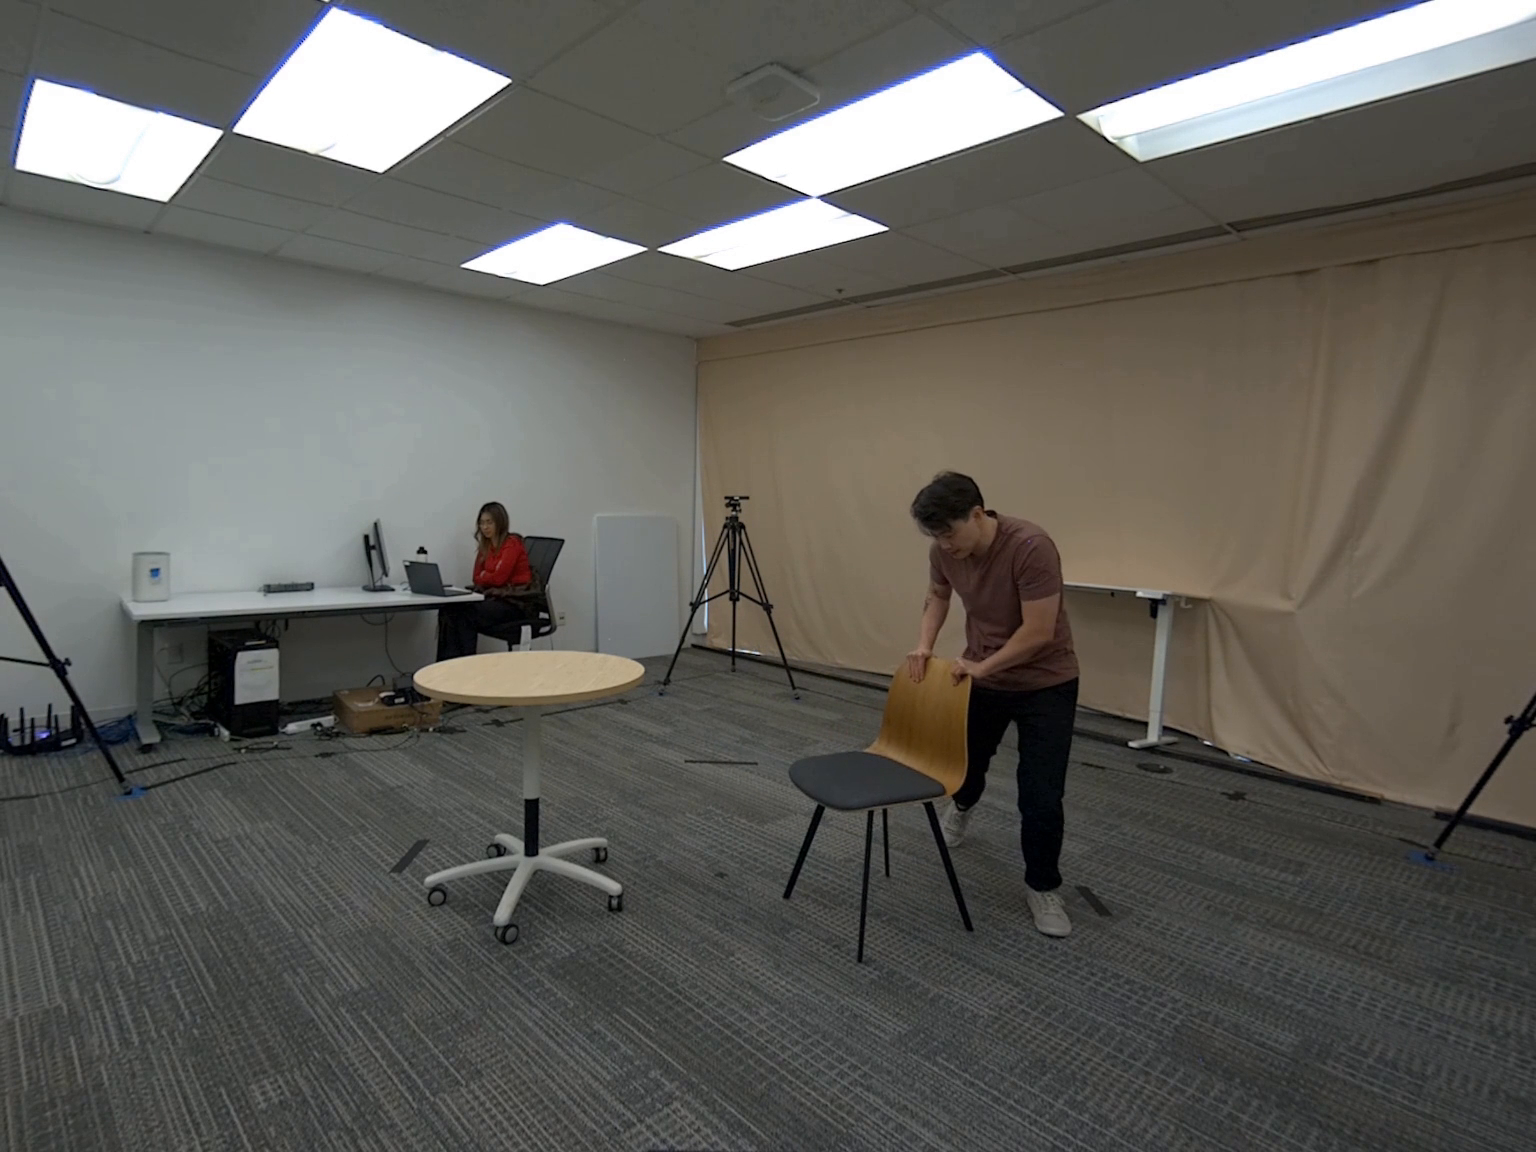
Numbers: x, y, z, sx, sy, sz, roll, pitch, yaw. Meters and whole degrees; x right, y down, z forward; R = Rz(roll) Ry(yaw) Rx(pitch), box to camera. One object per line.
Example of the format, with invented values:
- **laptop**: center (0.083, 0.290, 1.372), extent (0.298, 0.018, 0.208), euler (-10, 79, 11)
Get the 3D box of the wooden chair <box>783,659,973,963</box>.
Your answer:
- **wooden chair**: center (0.359, 0.712, 2.803), extent (0.512, 0.876, 0.489), euler (4, 2, -28)
